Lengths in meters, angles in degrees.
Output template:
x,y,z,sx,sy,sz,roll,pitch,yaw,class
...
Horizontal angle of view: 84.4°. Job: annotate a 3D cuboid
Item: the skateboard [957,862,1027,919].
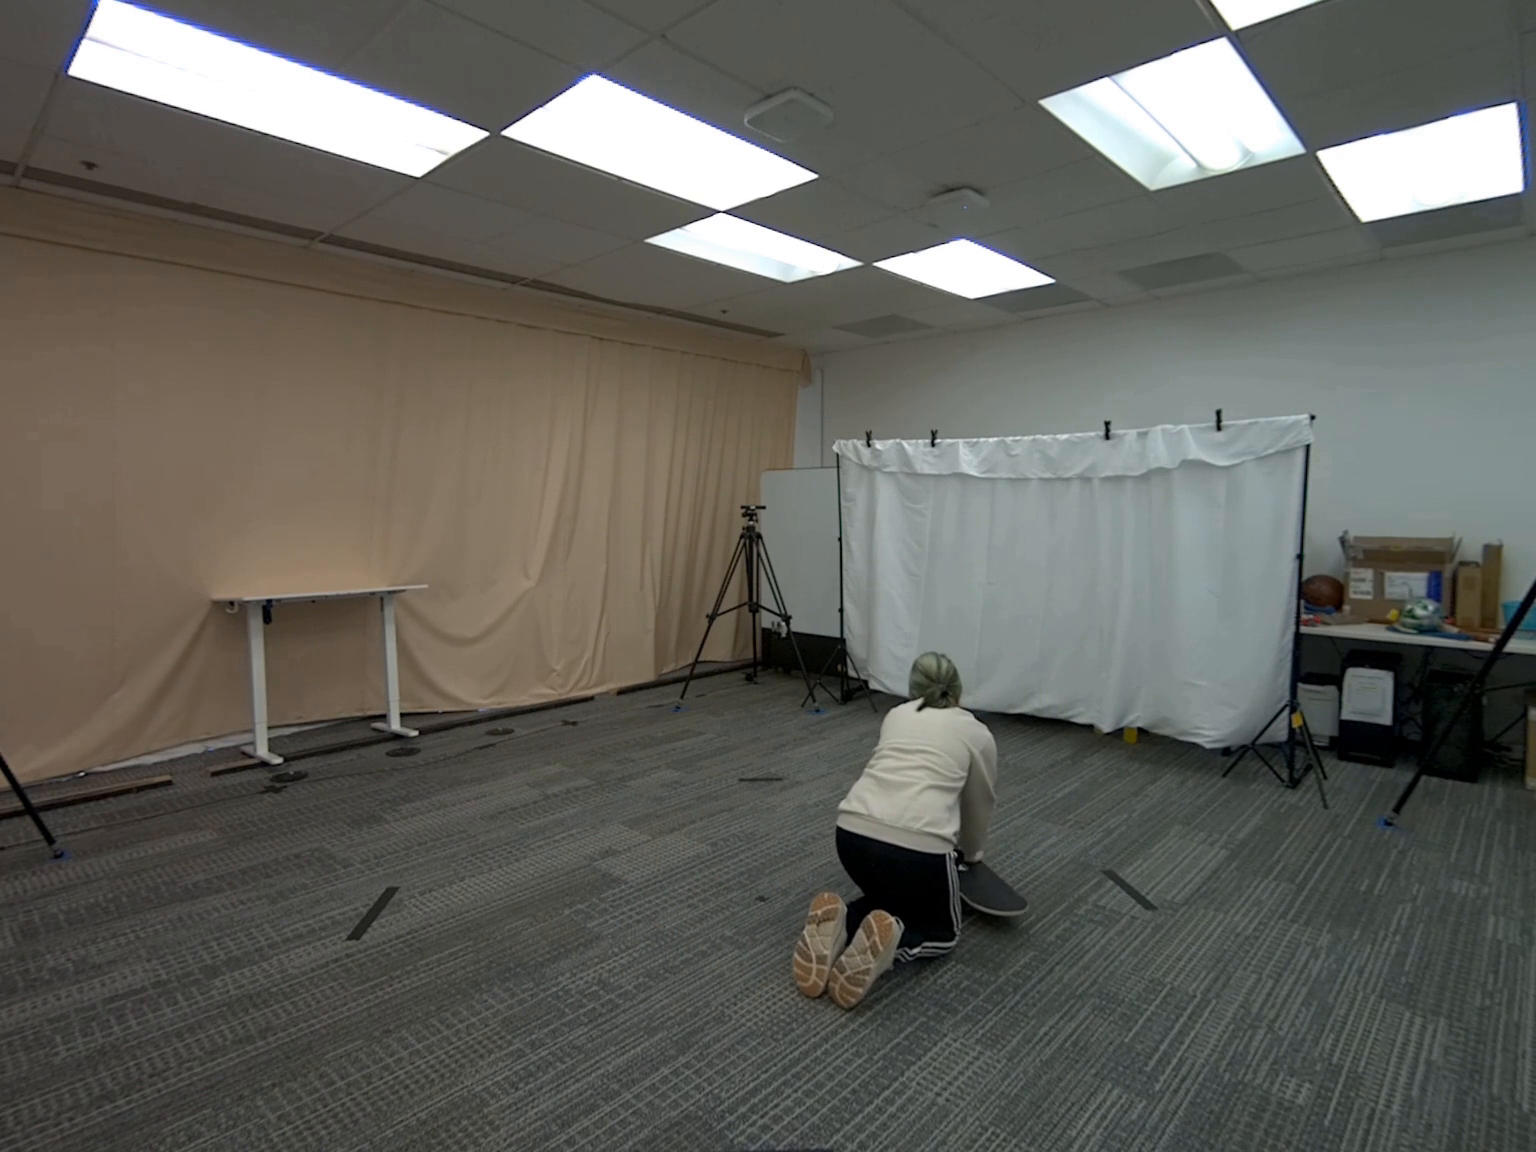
x,y,z,sx,sy,sz,roll,pitch,yaw,class
0.670,1.056,3.080,0.190,0.109,0.804,-2,12,-18,skateboard
